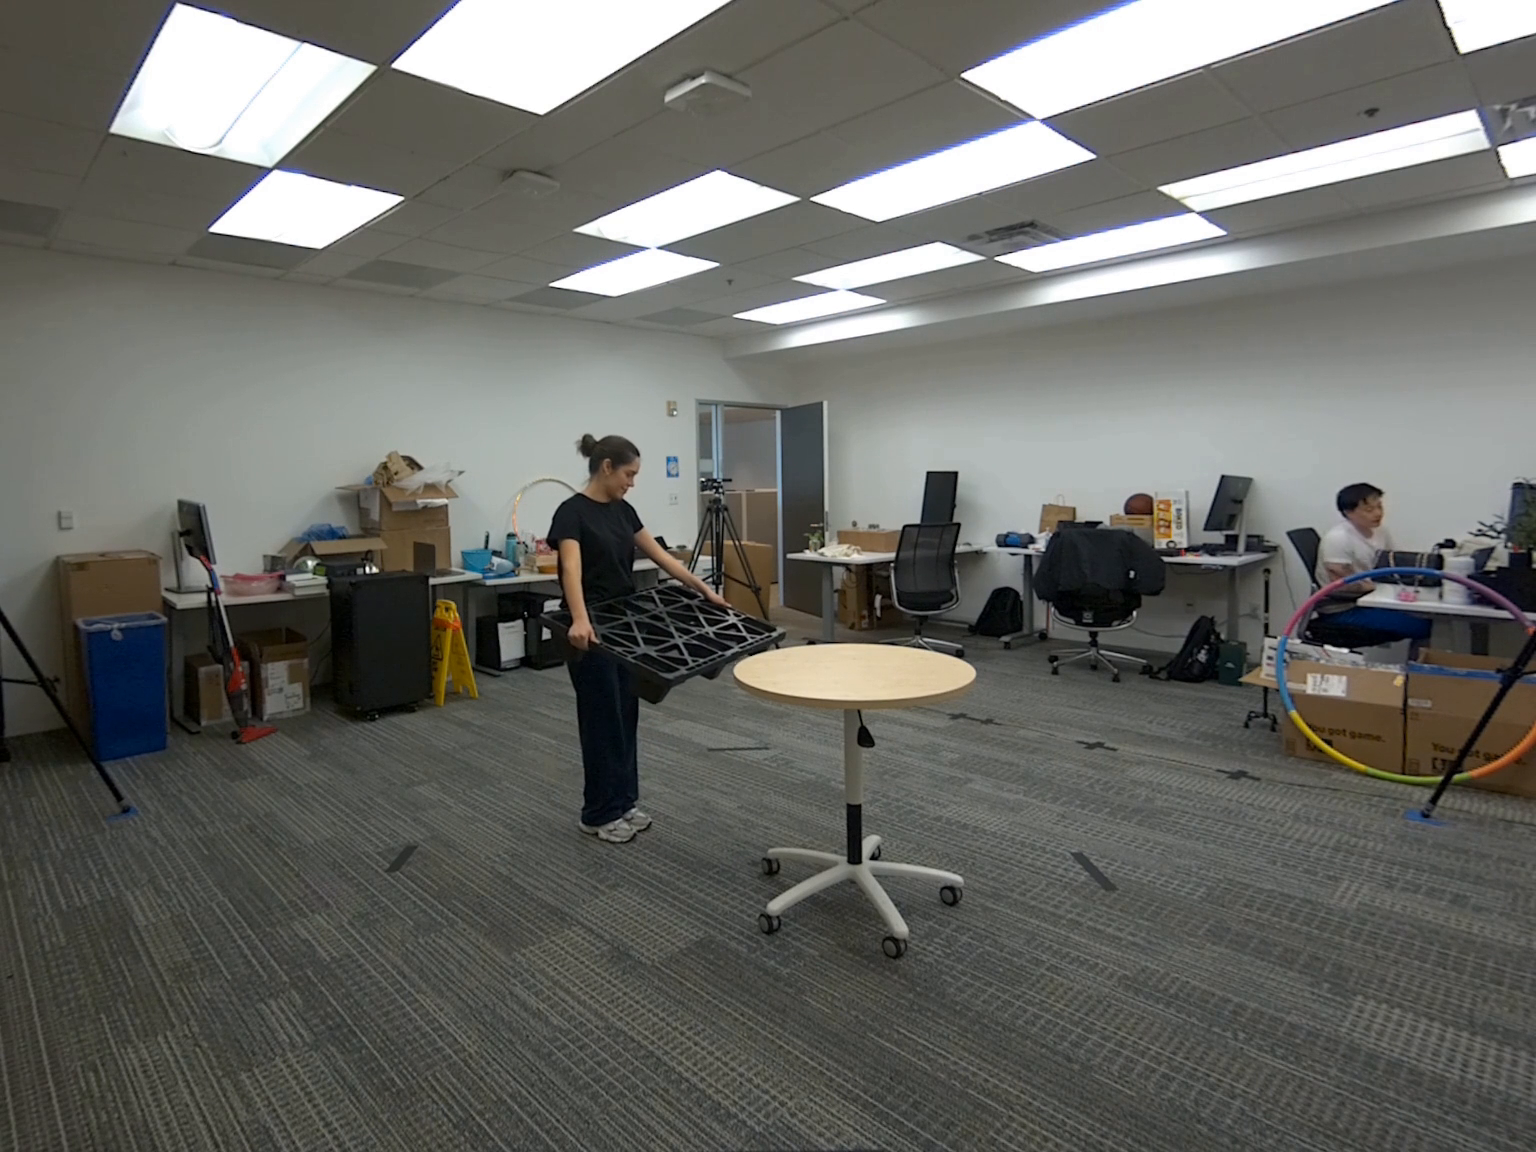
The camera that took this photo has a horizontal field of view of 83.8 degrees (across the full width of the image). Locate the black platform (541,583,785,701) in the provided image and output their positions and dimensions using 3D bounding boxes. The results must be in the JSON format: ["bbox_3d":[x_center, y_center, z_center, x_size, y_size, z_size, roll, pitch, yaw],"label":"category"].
[{"bbox_3d":[-0.382,0.241,3.237,0.623,0.142,0.790,20,18,26],"label":"black platform"}]
